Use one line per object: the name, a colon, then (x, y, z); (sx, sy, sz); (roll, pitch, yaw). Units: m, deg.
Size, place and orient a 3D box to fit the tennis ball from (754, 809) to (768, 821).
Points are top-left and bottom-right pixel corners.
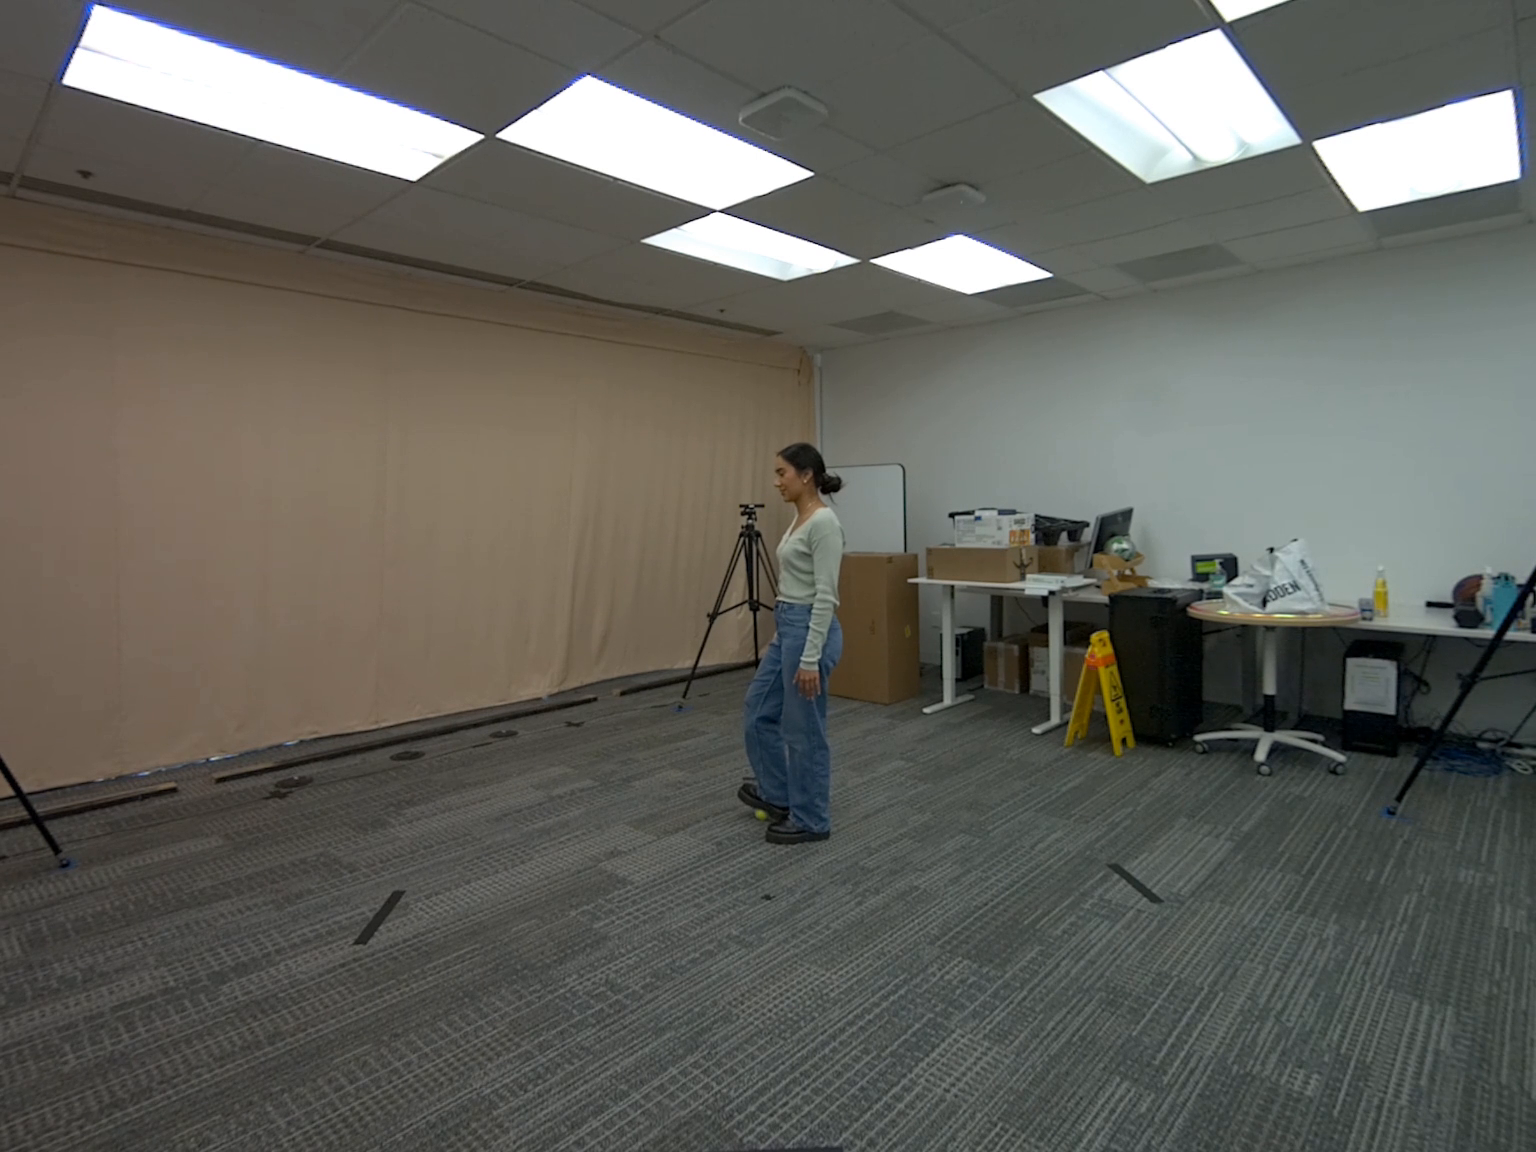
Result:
tennis ball: (-0.021, 1.053, 3.734); (0.066, 0.066, 0.067); (-1, 4, -2)
